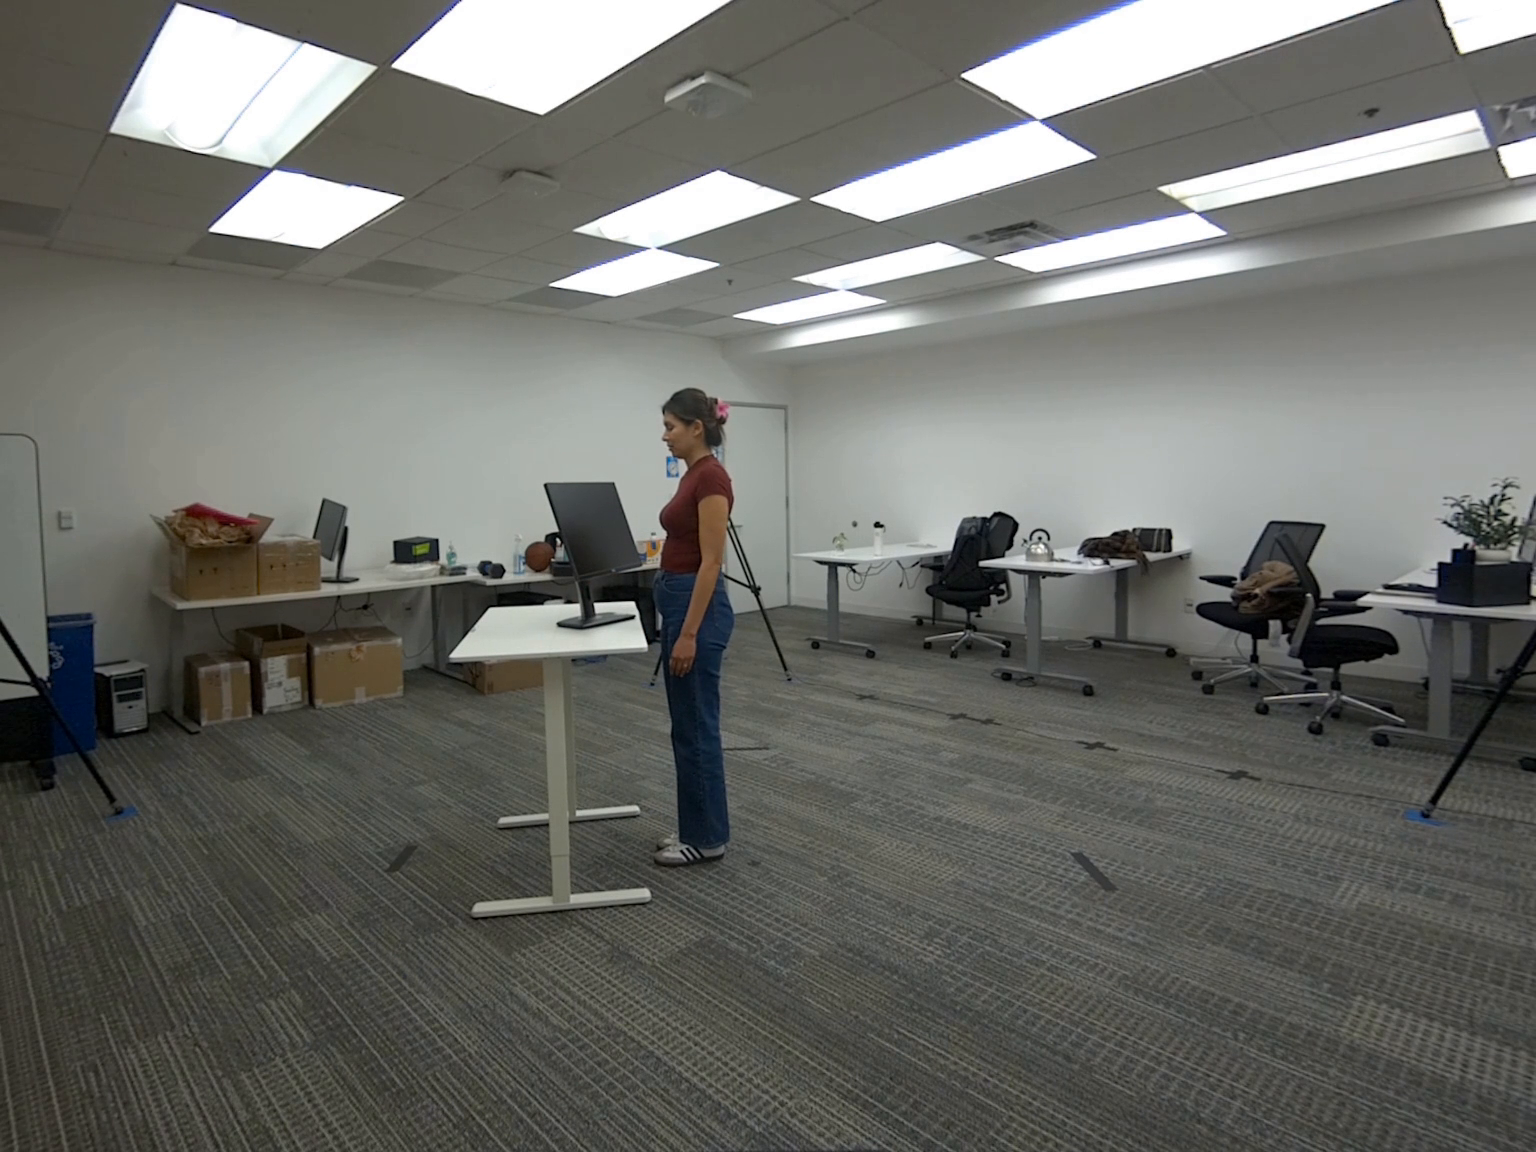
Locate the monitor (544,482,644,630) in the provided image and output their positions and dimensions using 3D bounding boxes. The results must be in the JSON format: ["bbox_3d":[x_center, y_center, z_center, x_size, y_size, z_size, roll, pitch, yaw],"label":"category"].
[{"bbox_3d":[-0.650,-0.084,3.146,0.190,0.521,0.533,-4,3,14],"label":"monitor"}]
